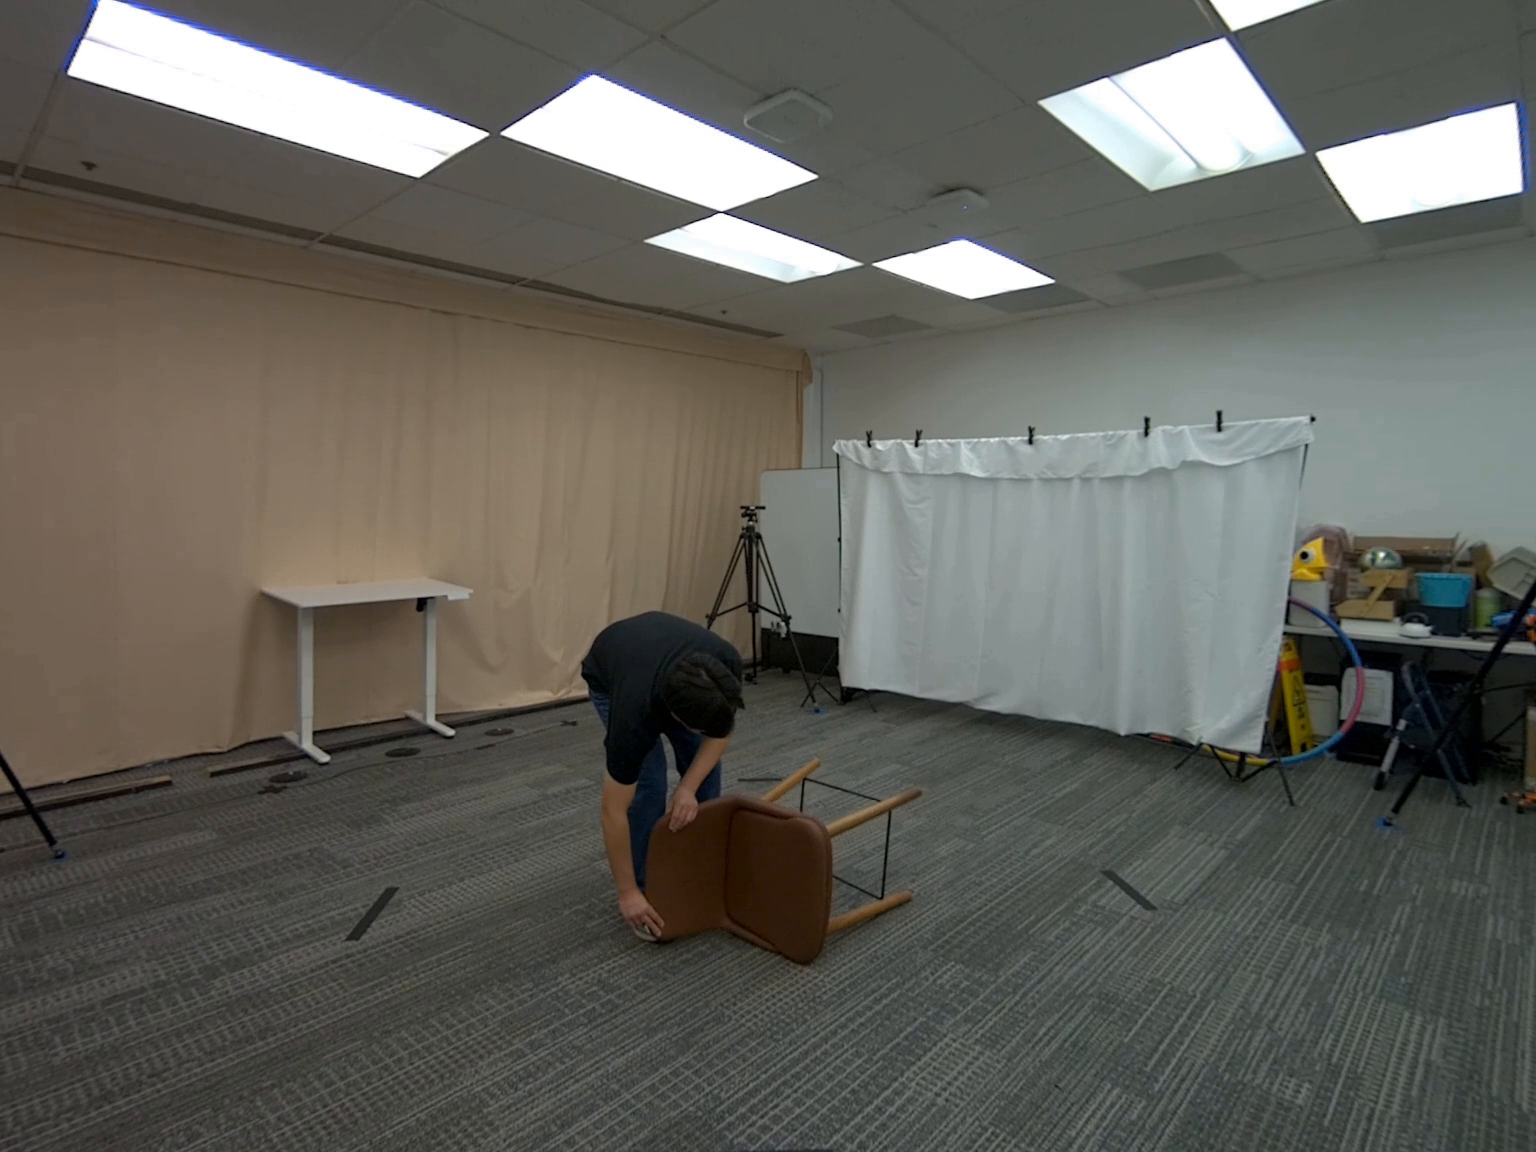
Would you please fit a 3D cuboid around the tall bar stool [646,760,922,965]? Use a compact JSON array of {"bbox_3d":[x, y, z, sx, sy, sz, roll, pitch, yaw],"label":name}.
[{"bbox_3d":[0.084,0.930,2.765,0.484,0.455,0.862,10,8,39],"label":"tall bar stool"}]
